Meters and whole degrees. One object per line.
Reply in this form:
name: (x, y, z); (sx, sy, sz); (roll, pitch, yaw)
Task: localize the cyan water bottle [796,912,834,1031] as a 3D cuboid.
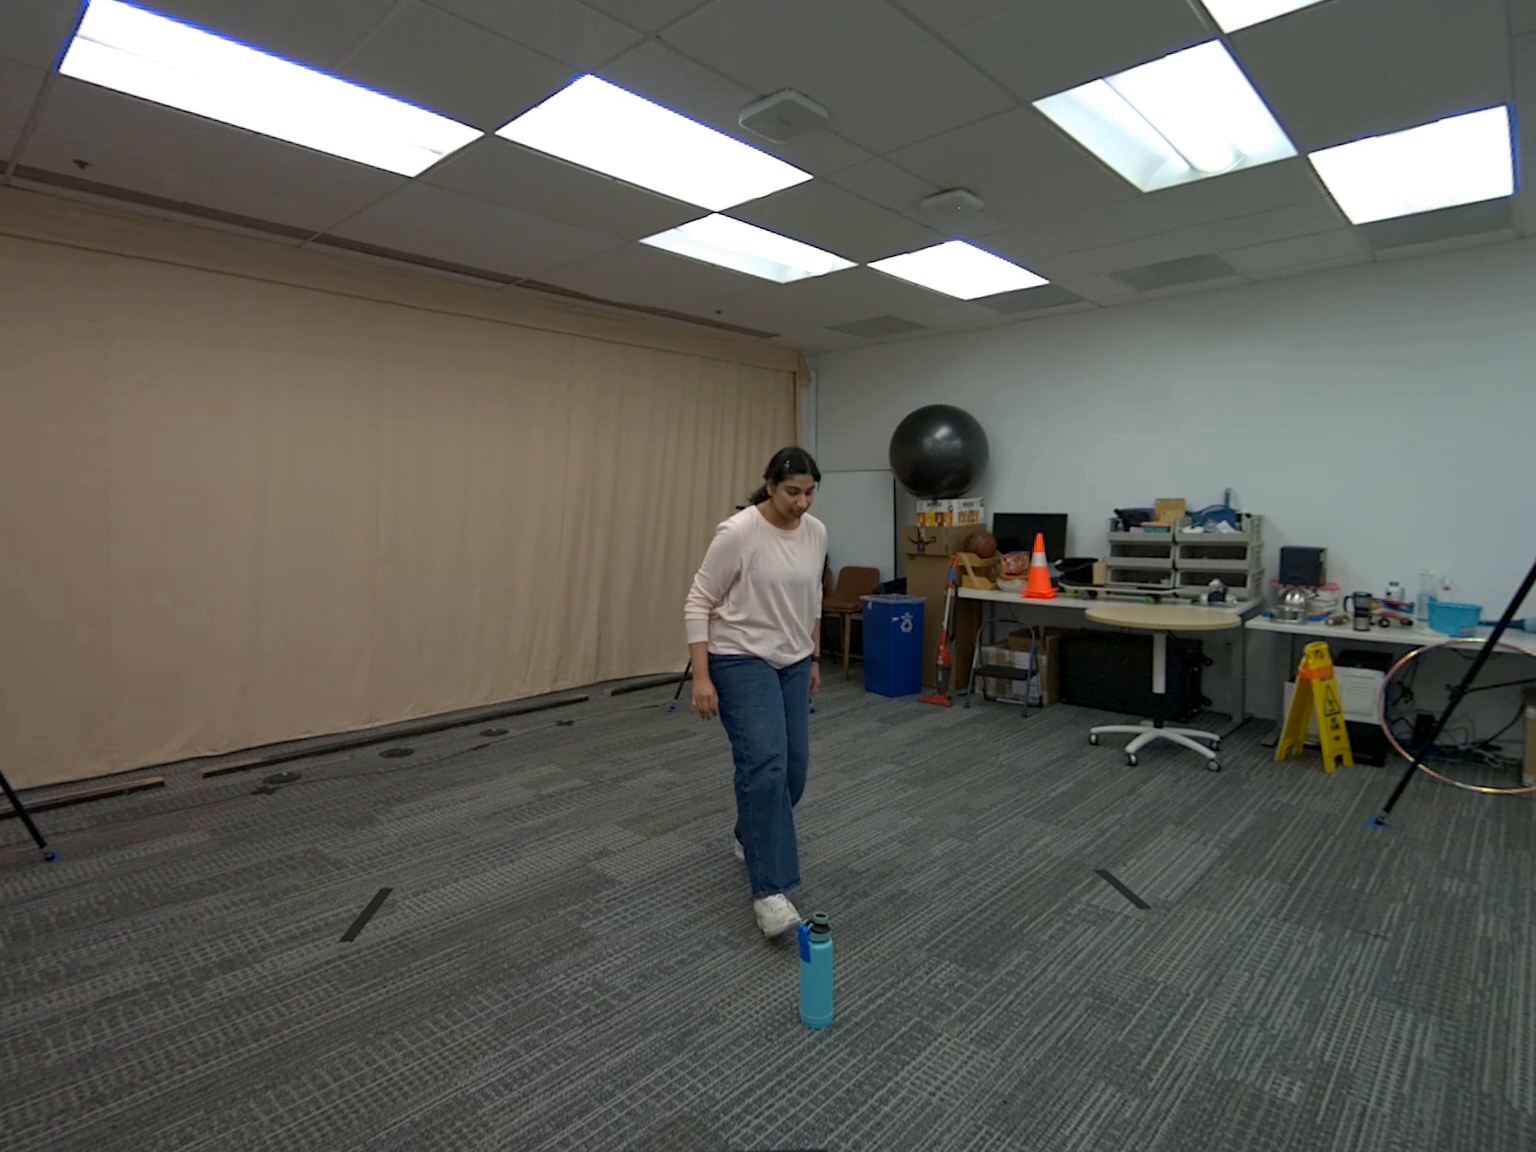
cyan water bottle: (0.130, 1.057, 2.278); (0.092, 0.283, 0.092); (-1, 3, -2)
